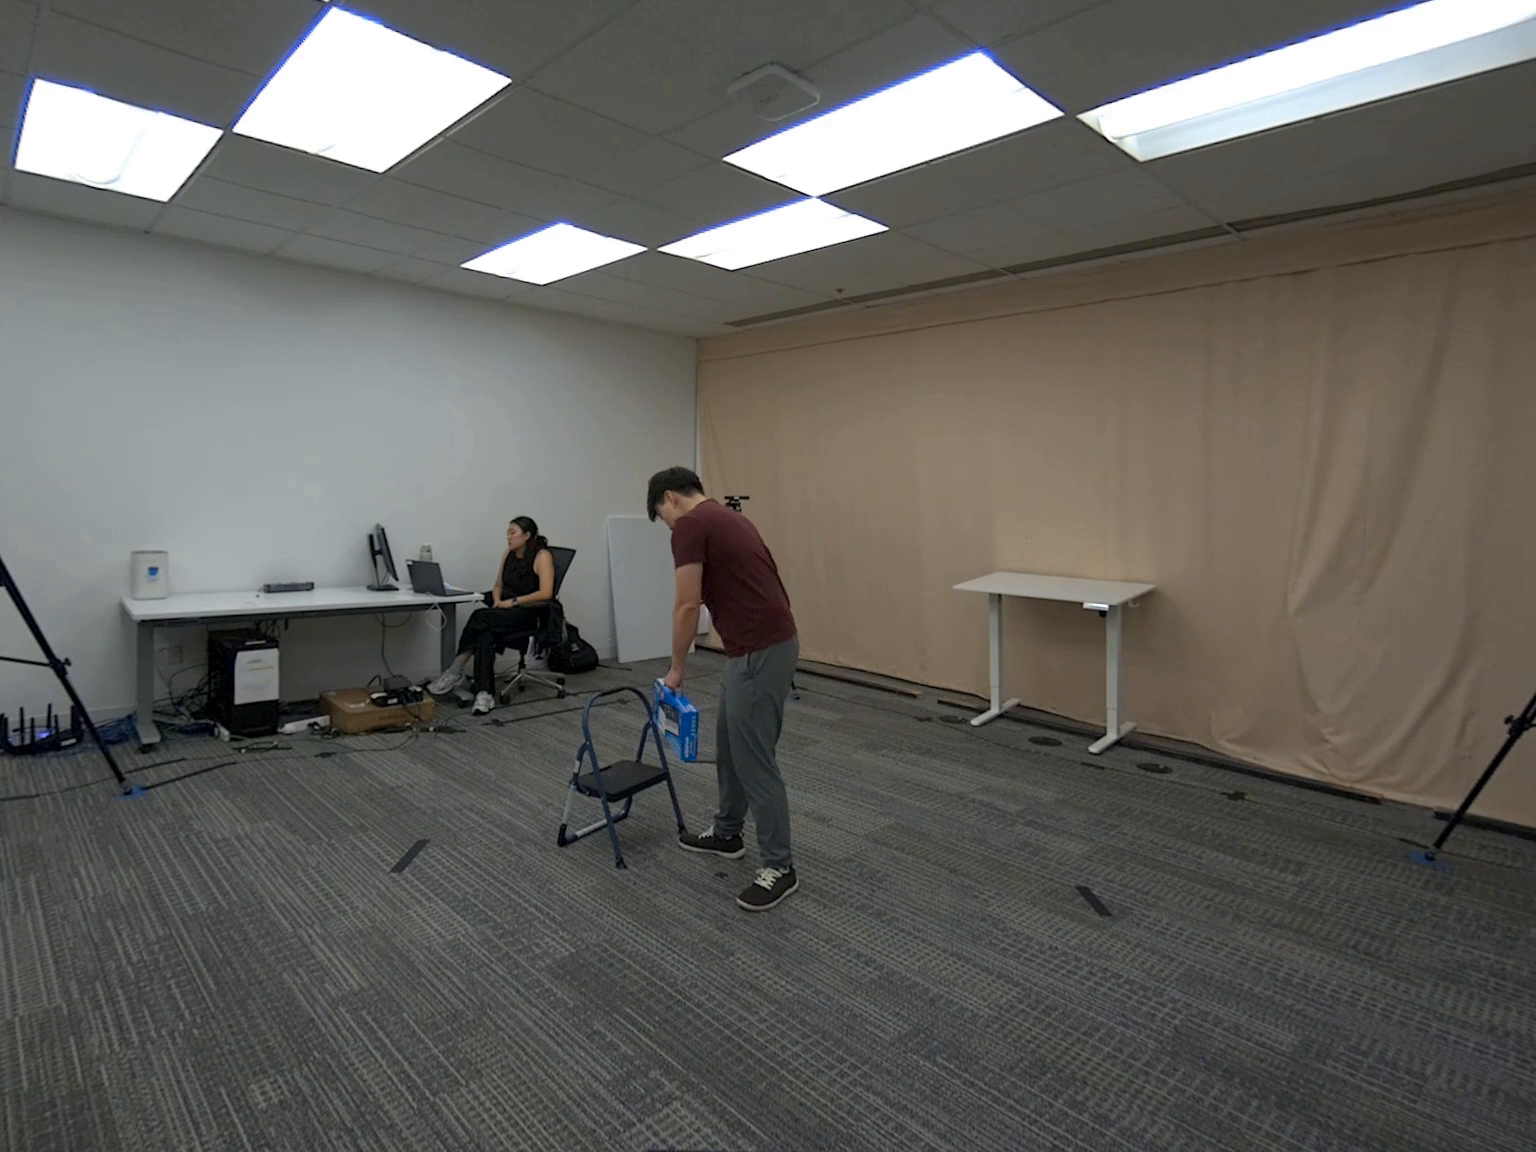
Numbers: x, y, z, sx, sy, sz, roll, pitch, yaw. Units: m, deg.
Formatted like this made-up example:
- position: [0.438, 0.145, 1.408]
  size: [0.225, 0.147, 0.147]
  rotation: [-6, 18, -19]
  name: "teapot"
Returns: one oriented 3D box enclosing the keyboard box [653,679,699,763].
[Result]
- position: [-0.347, 0.520, 3.089]
  size: [0.058, 0.175, 0.445]
  rotation: [1, 8, -21]
  name: "keyboard box"
